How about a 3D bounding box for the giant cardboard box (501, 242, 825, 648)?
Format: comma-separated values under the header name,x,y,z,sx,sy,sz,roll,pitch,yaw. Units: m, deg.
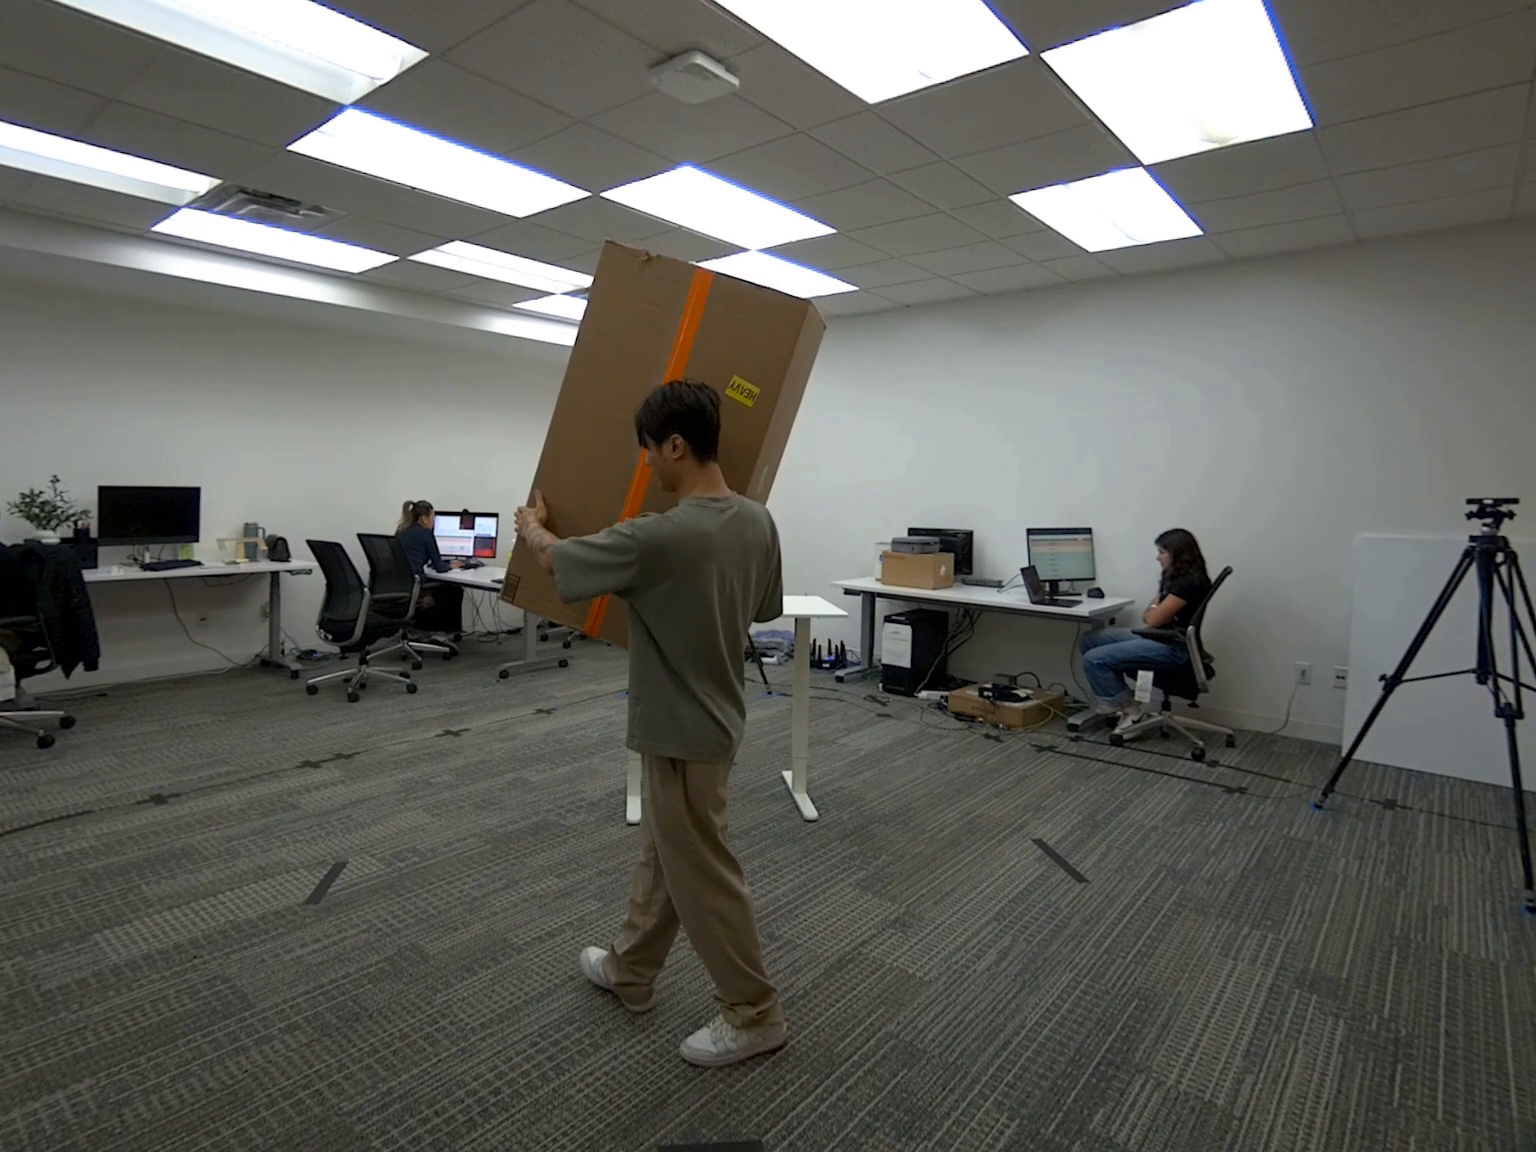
name,x,y,z,sx,sy,sz,roll,pitch,yaw
giant cardboard box,-0.302,-0.340,2.440,0.586,1.021,0.423,21,9,9
